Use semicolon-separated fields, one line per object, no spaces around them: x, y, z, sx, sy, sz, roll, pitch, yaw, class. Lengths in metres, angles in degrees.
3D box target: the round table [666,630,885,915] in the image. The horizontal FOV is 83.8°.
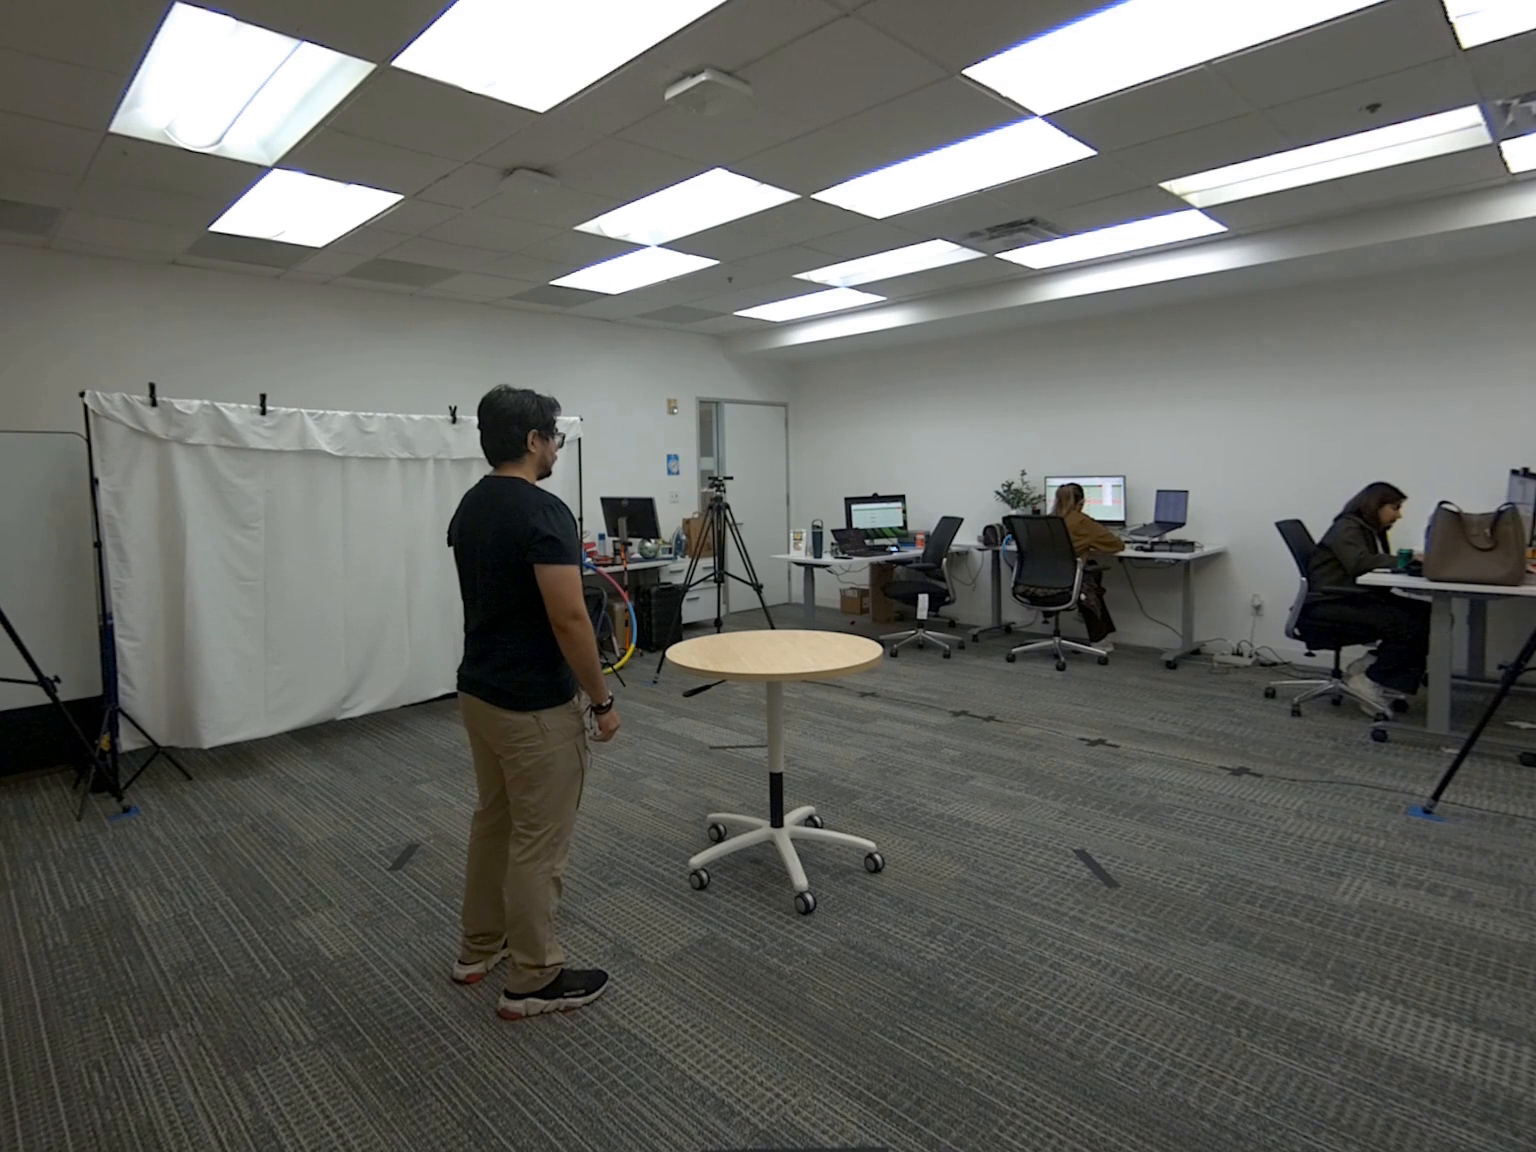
0.025;0.646;3.070;0.784;0.783;0.789;-1;5;-2;round table
